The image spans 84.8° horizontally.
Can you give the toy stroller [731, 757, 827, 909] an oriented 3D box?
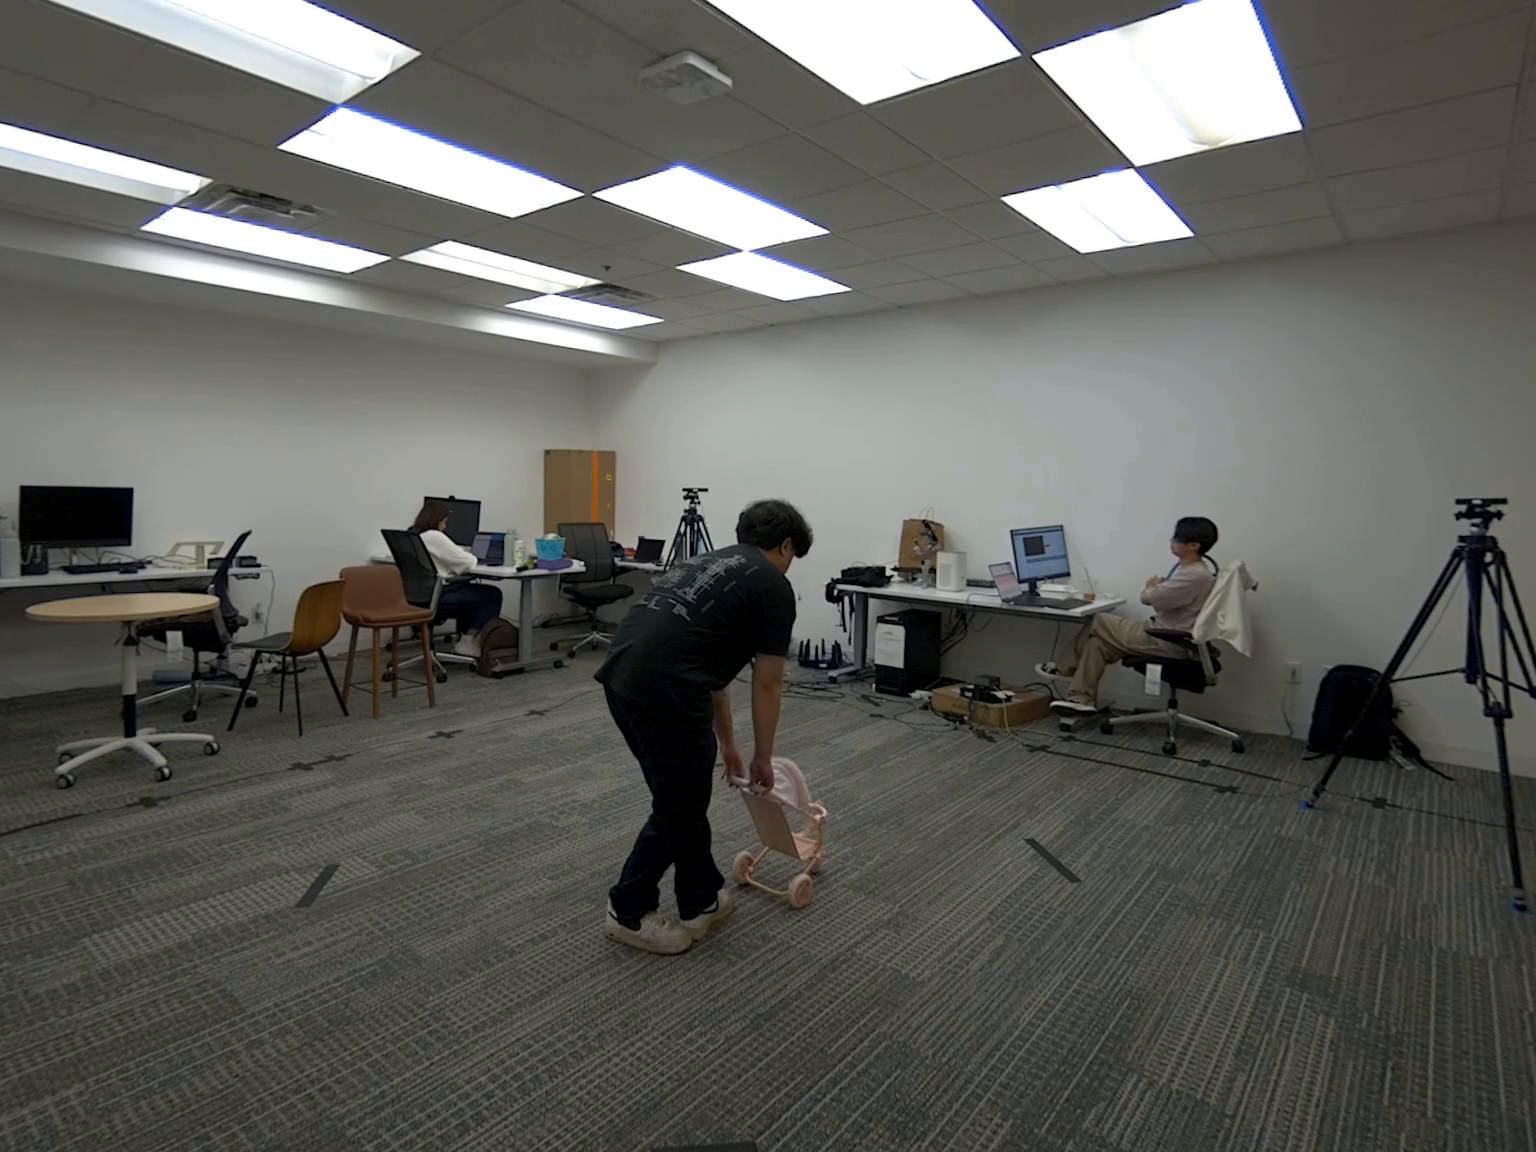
[{"bbox_3d":[0.048,0.862,2.959,0.291,0.527,0.335,4,20,44],"label":"toy stroller"}]
